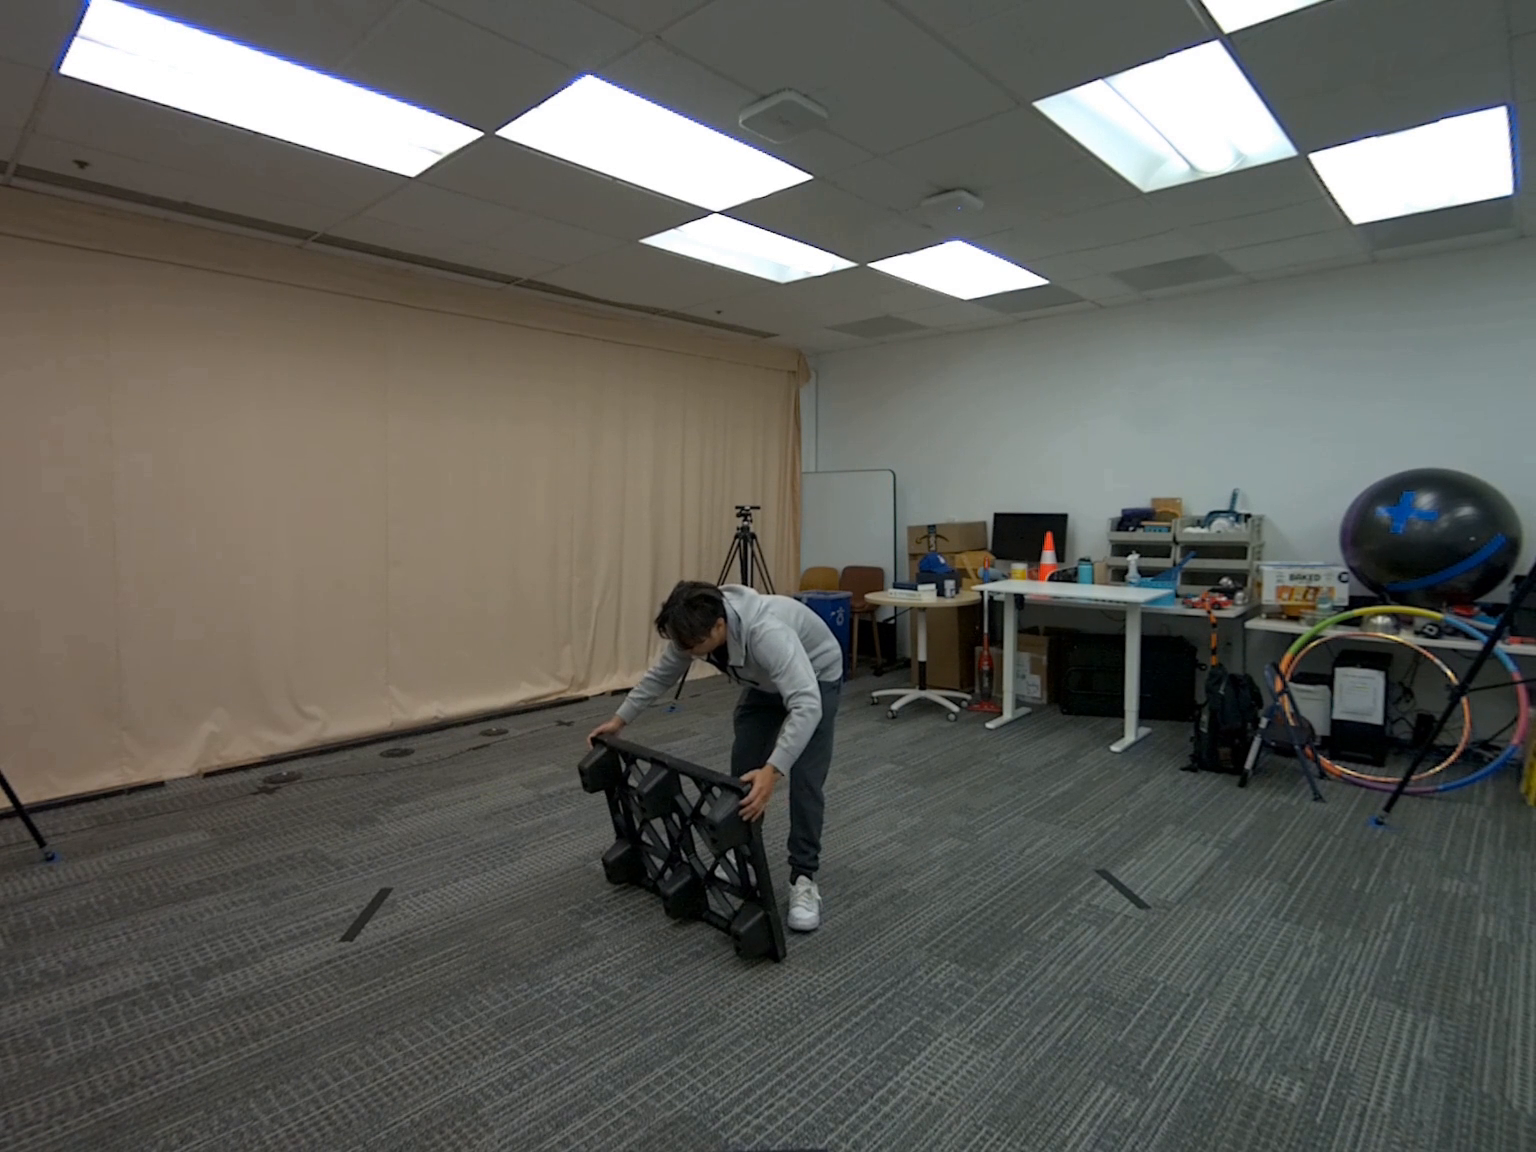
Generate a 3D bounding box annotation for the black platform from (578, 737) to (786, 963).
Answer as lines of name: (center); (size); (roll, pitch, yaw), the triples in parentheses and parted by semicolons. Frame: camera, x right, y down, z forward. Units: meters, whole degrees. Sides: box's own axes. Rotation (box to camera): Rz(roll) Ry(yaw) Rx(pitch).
black platform: (-0.311, 0.879, 2.763); (0.833, 0.599, 0.140); (4, 19, 46)
